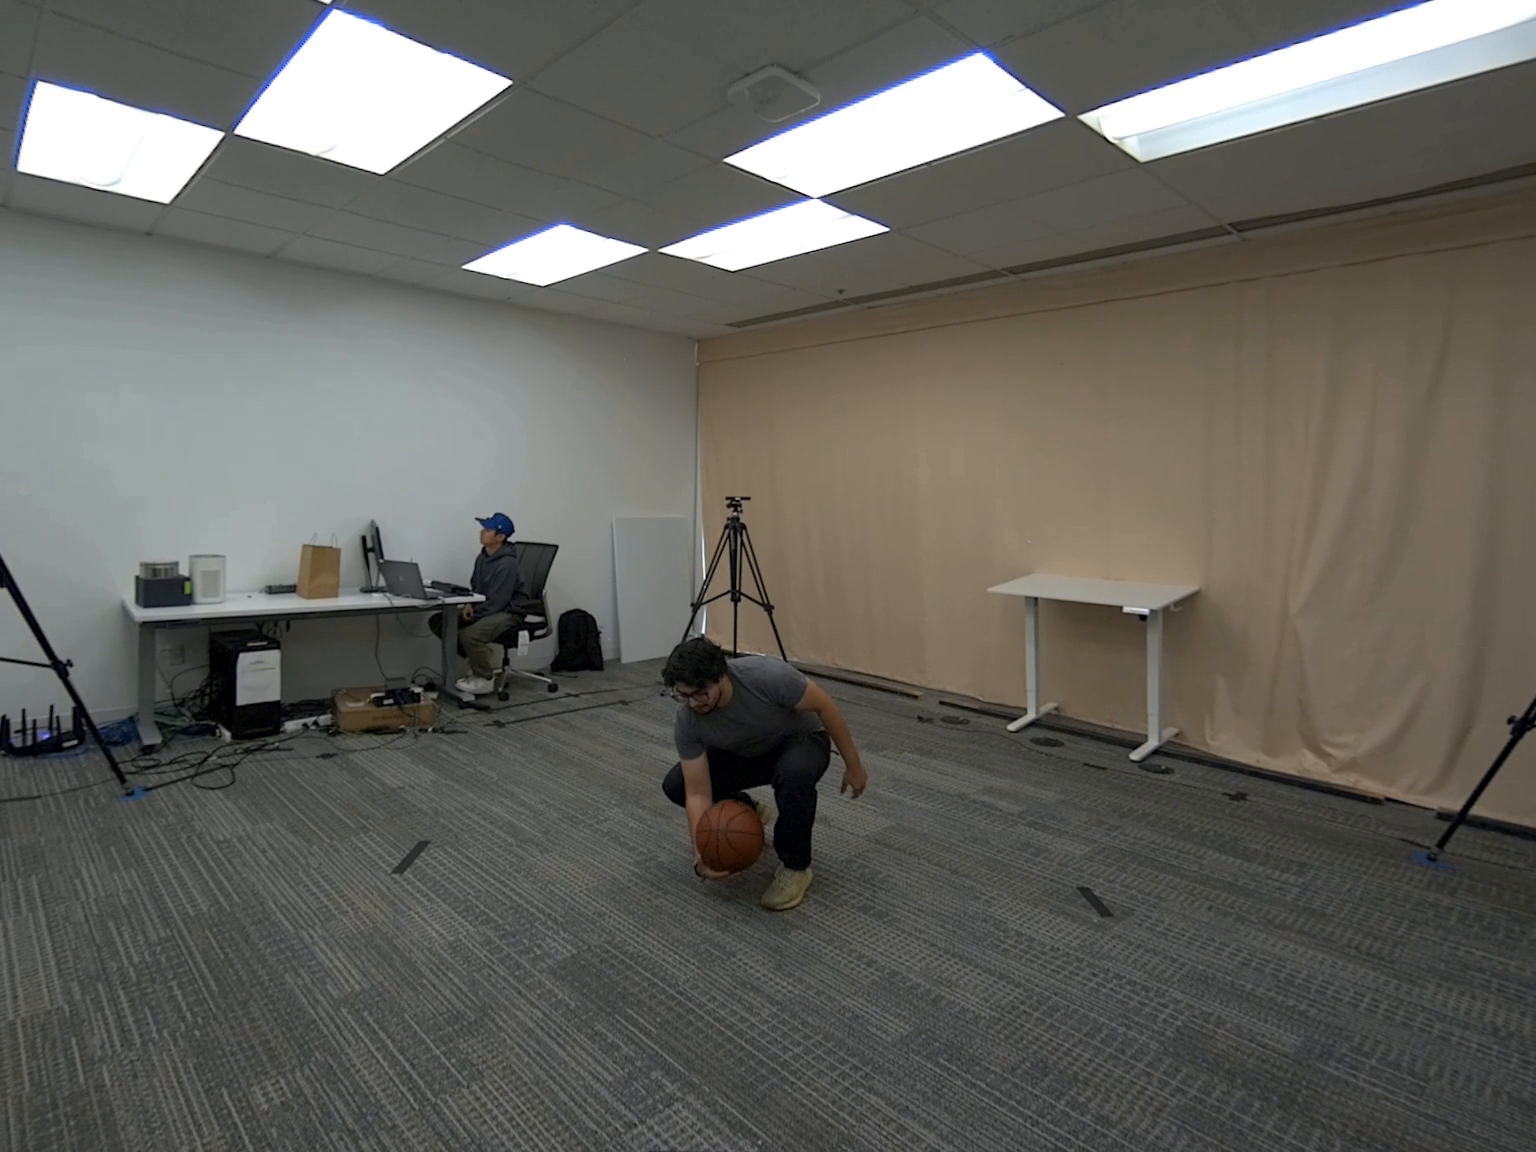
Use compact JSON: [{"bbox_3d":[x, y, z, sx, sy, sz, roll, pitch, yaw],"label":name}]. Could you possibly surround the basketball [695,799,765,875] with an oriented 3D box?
[{"bbox_3d":[-0.147,0.887,2.894,0.236,0.235,0.237,1,4,-1],"label":"basketball"}]
